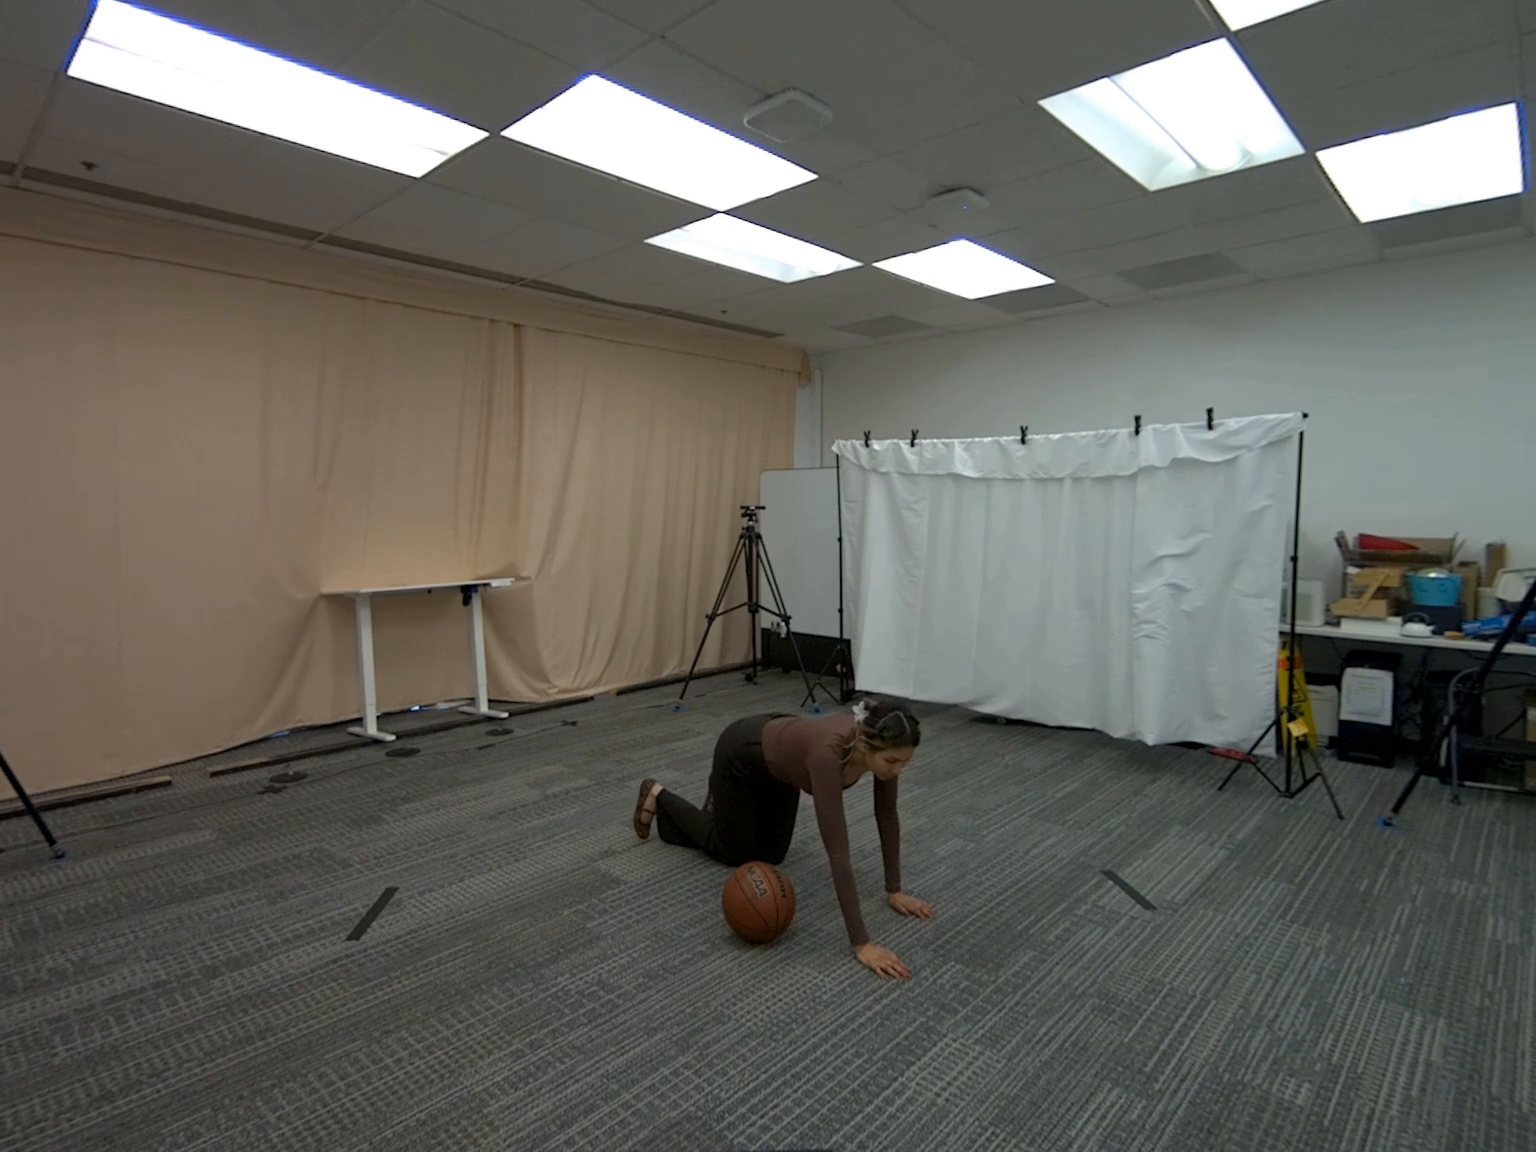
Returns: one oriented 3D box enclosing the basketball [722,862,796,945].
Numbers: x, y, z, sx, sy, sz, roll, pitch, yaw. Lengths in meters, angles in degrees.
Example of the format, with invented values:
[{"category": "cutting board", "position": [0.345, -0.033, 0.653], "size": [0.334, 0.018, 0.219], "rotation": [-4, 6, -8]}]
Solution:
[{"category": "basketball", "position": [-0.022, 1.040, 2.717], "size": [0.236, 0.235, 0.237], "rotation": [0, 4, -2]}]
